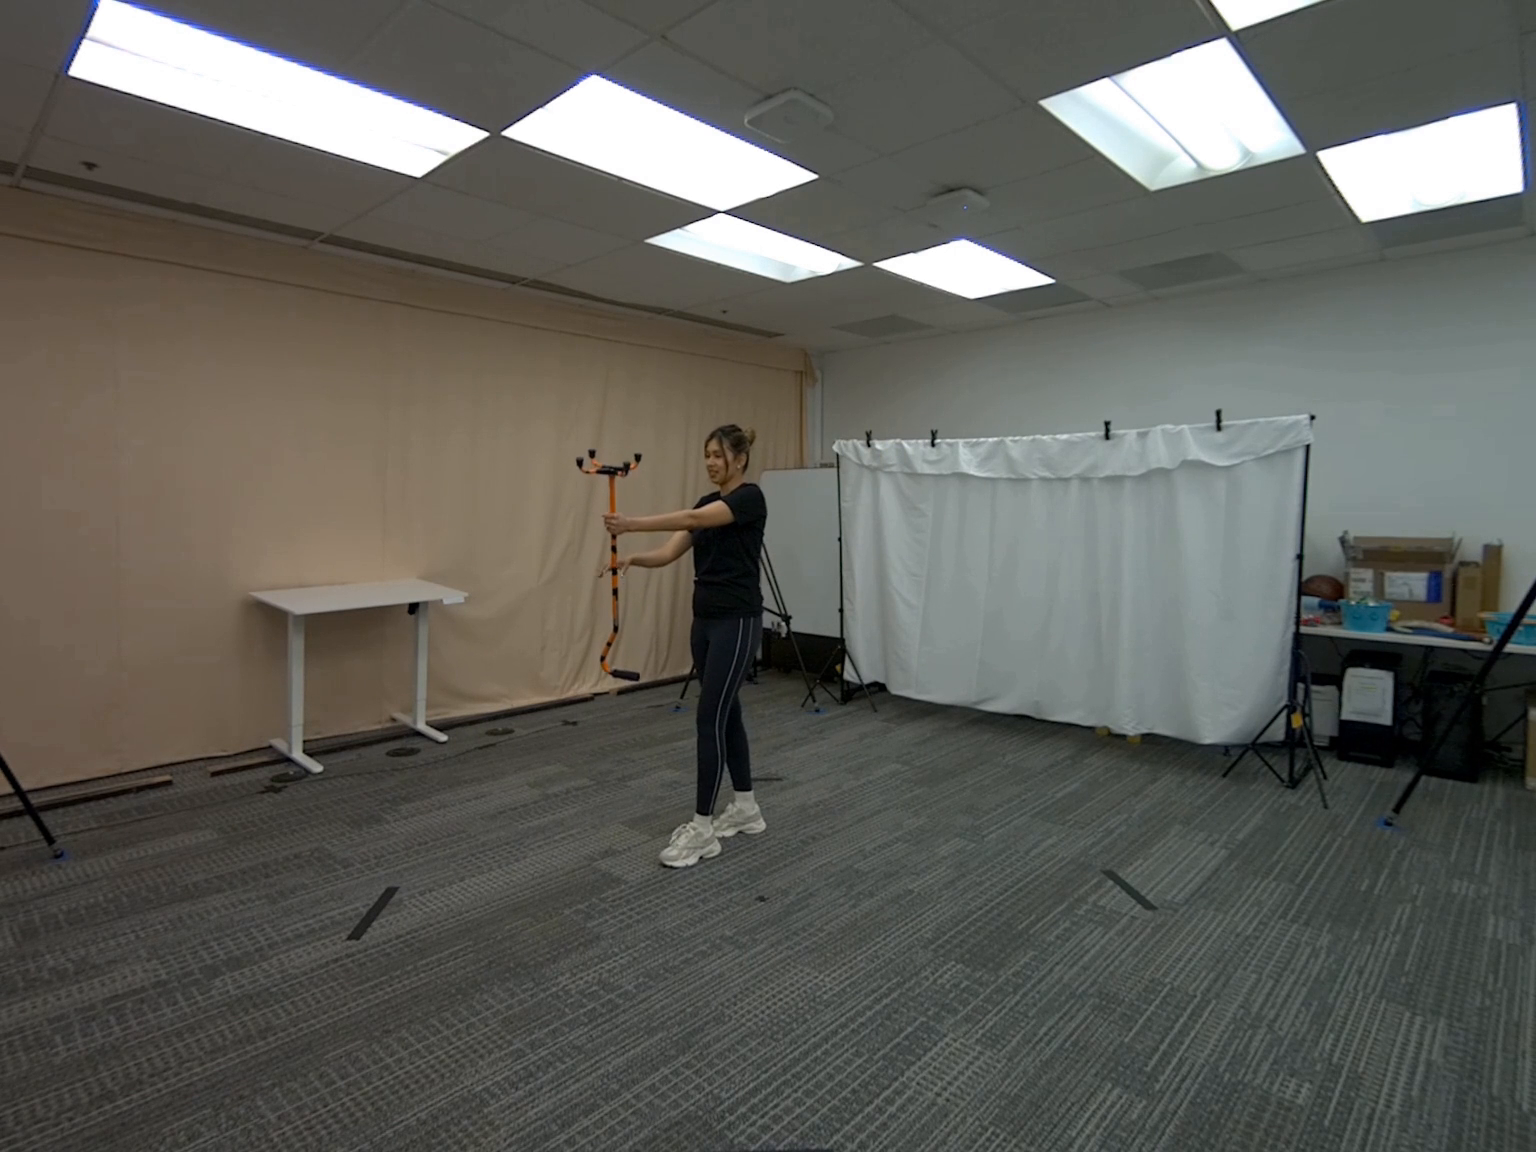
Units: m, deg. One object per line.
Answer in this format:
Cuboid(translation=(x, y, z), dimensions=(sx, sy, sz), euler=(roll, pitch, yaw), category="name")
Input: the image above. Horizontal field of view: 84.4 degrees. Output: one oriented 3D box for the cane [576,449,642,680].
Cuboid(translation=(-0.587, -0.011, 3.169), dimensions=(0.209, 0.897, 0.151), euler=(5, 21, 10), category="cane")
